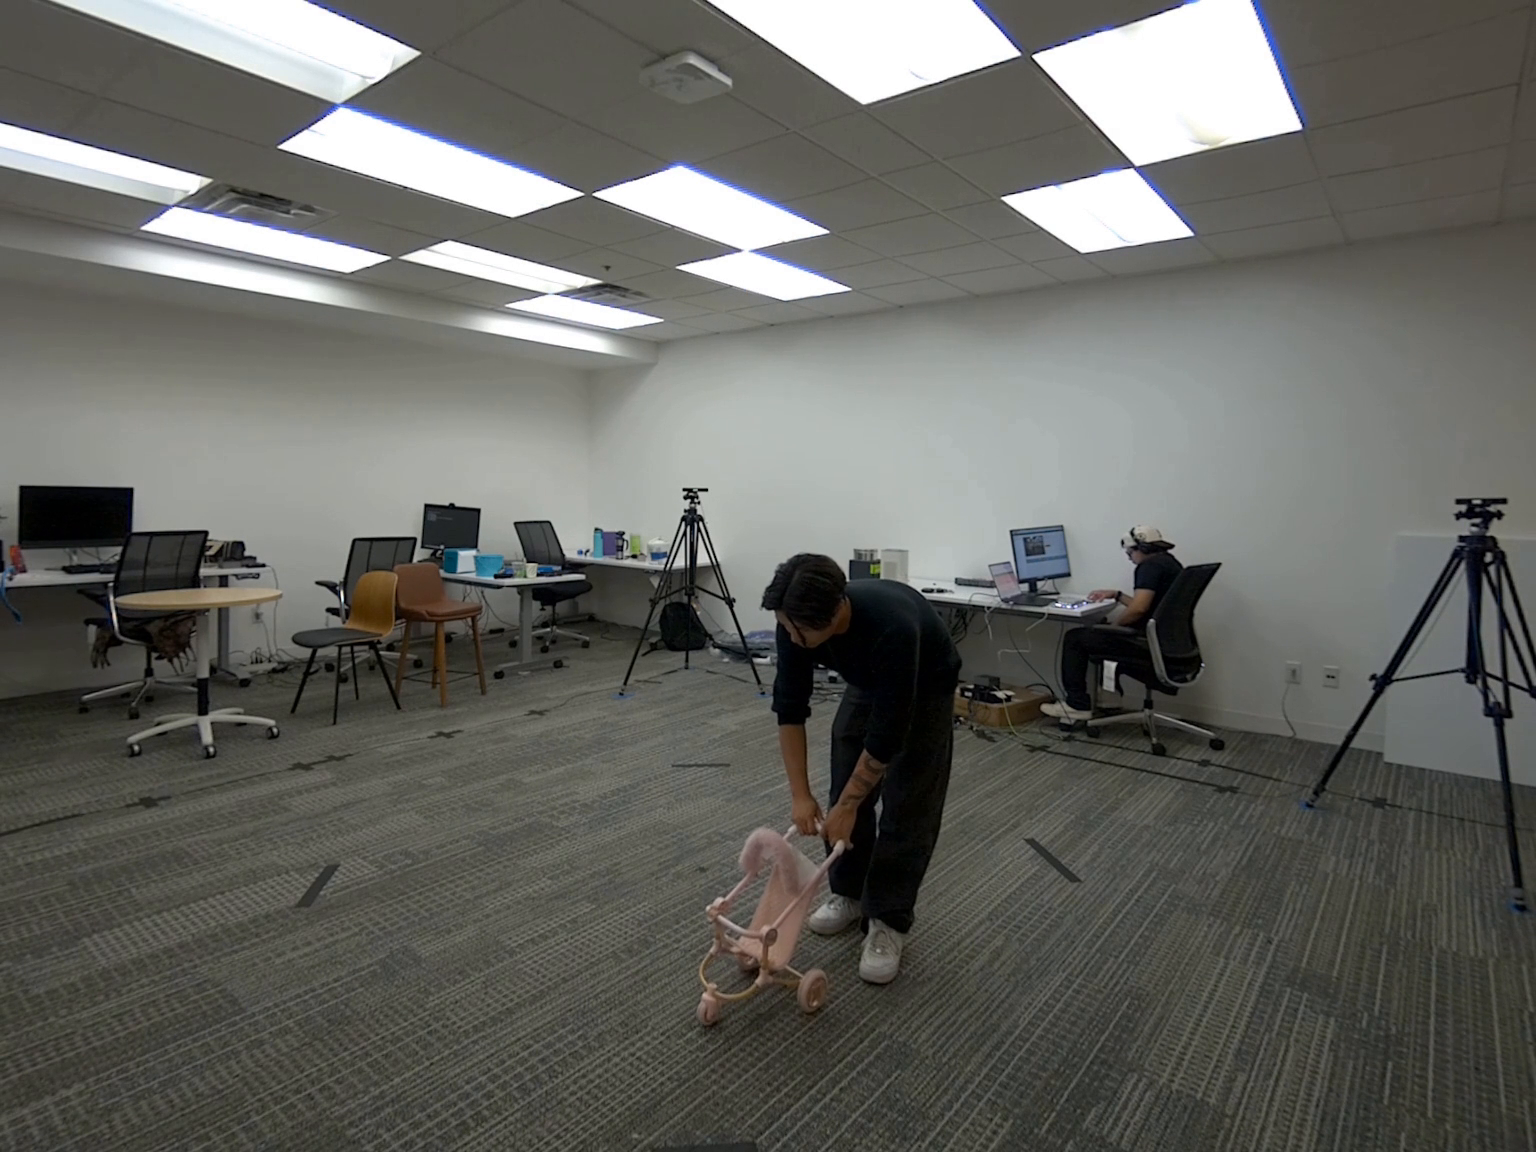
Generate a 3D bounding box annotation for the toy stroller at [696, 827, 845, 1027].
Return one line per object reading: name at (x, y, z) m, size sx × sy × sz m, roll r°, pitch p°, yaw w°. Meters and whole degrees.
toy stroller at (-0.017, 0.930, 2.321) m, size 0.328 × 0.537 × 0.291 m, roll 19°, pitch -8°, yaw -38°
